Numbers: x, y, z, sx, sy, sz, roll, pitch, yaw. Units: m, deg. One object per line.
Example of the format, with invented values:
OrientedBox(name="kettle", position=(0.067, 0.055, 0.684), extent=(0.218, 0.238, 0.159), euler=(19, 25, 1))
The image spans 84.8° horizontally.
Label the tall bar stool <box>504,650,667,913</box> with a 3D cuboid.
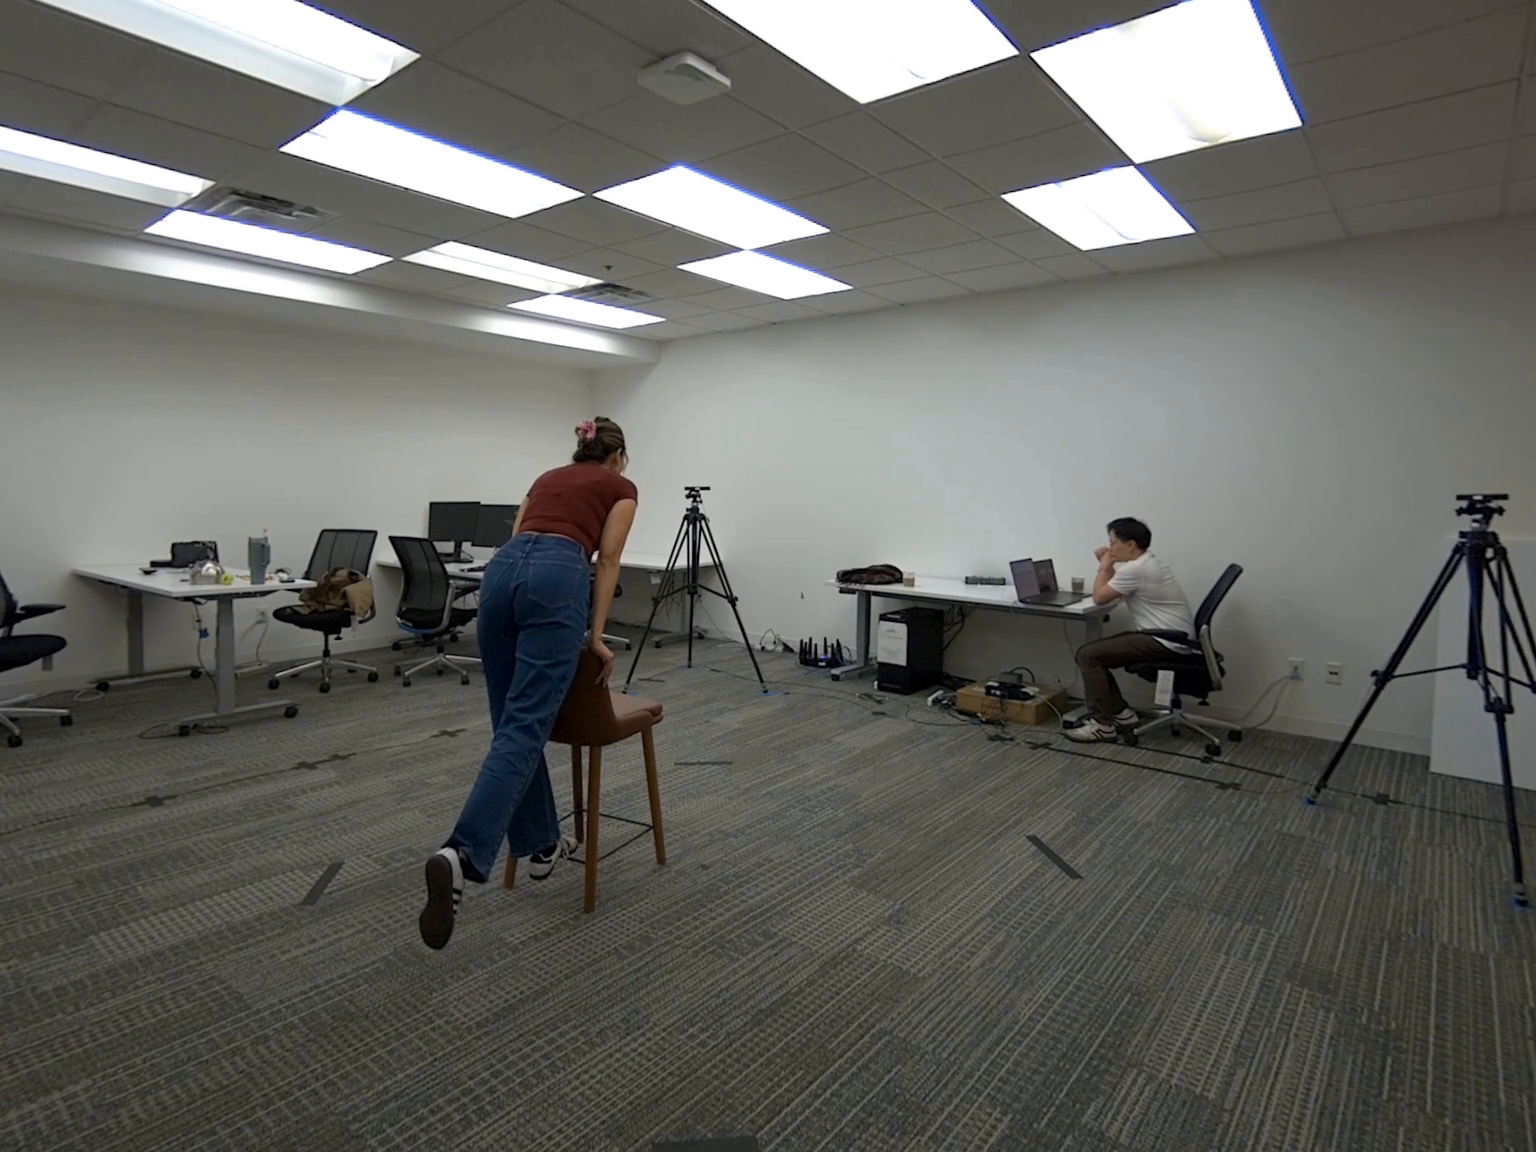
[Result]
OrientedBox(name="tall bar stool", position=(-0.663, 0.631, 3.017), extent=(0.469, 0.886, 0.457), euler=(2, 5, 27))
